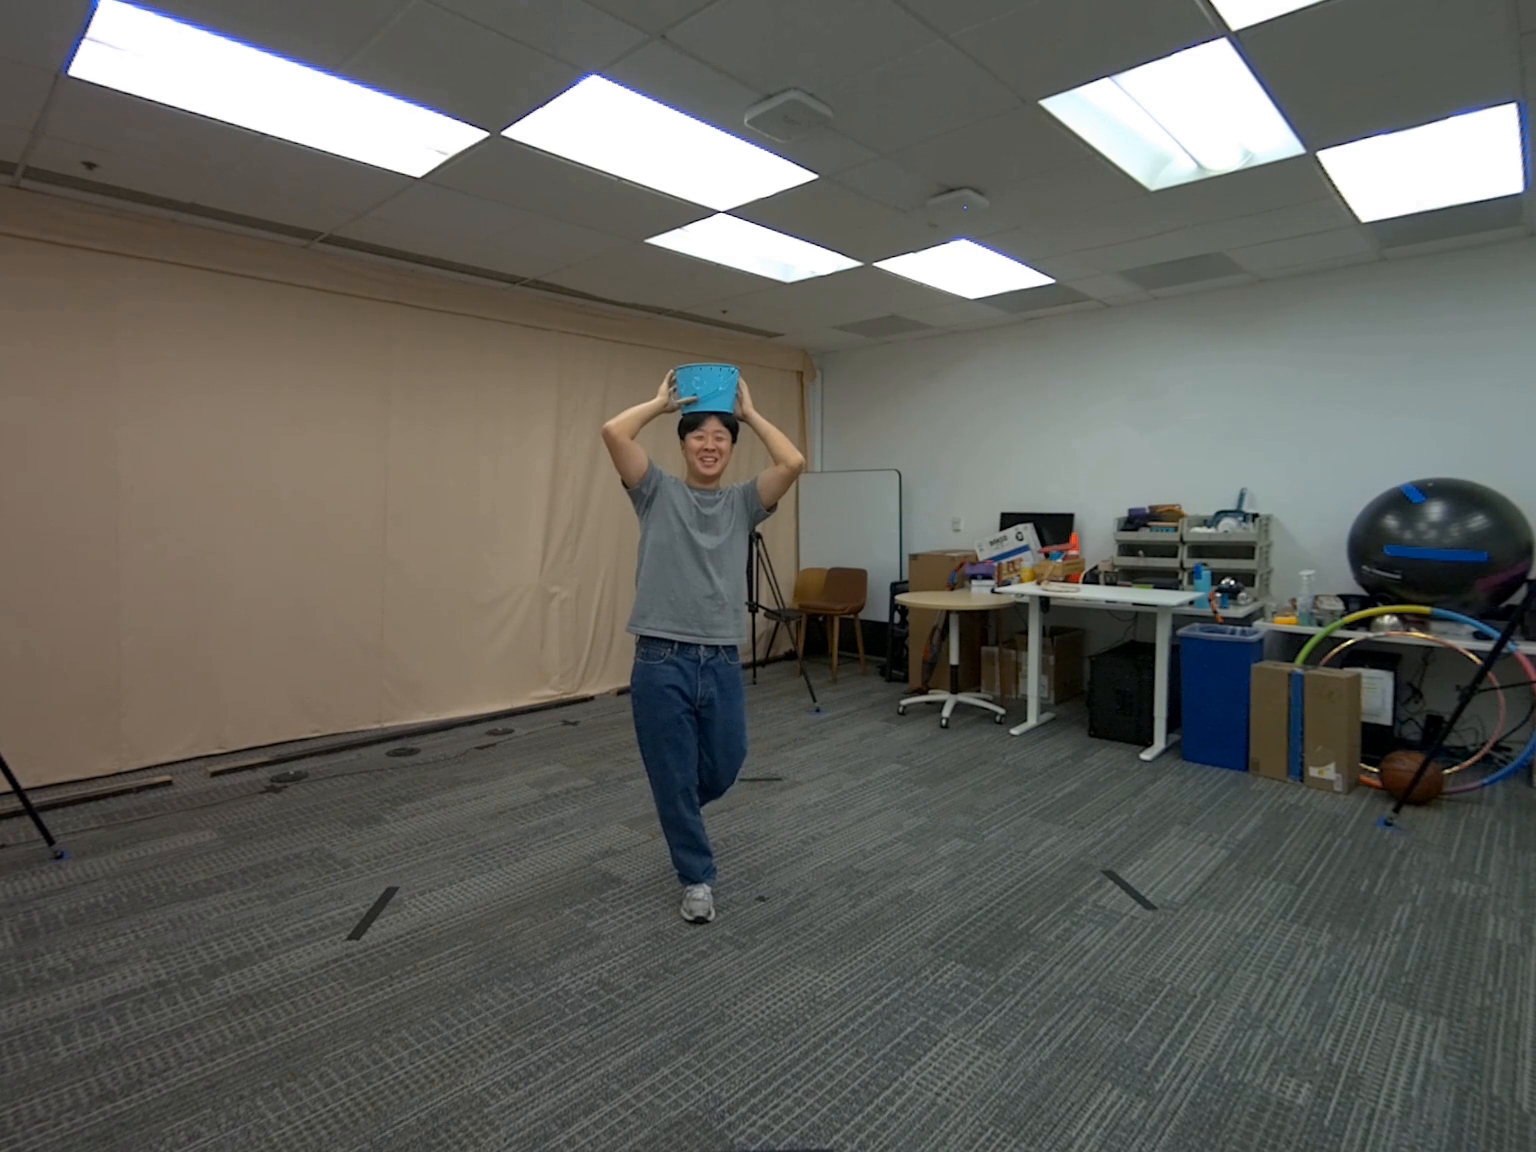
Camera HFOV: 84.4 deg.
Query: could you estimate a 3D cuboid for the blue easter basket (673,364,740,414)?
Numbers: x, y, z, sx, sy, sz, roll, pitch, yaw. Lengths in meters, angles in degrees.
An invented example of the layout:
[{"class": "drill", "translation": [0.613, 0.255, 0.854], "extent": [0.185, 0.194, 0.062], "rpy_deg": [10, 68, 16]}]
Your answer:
[{"class": "blue easter basket", "translation": [-0.219, -0.627, 2.890], "extent": [0.243, 0.156, 0.243], "rpy_deg": [-1, -1, -2]}]
